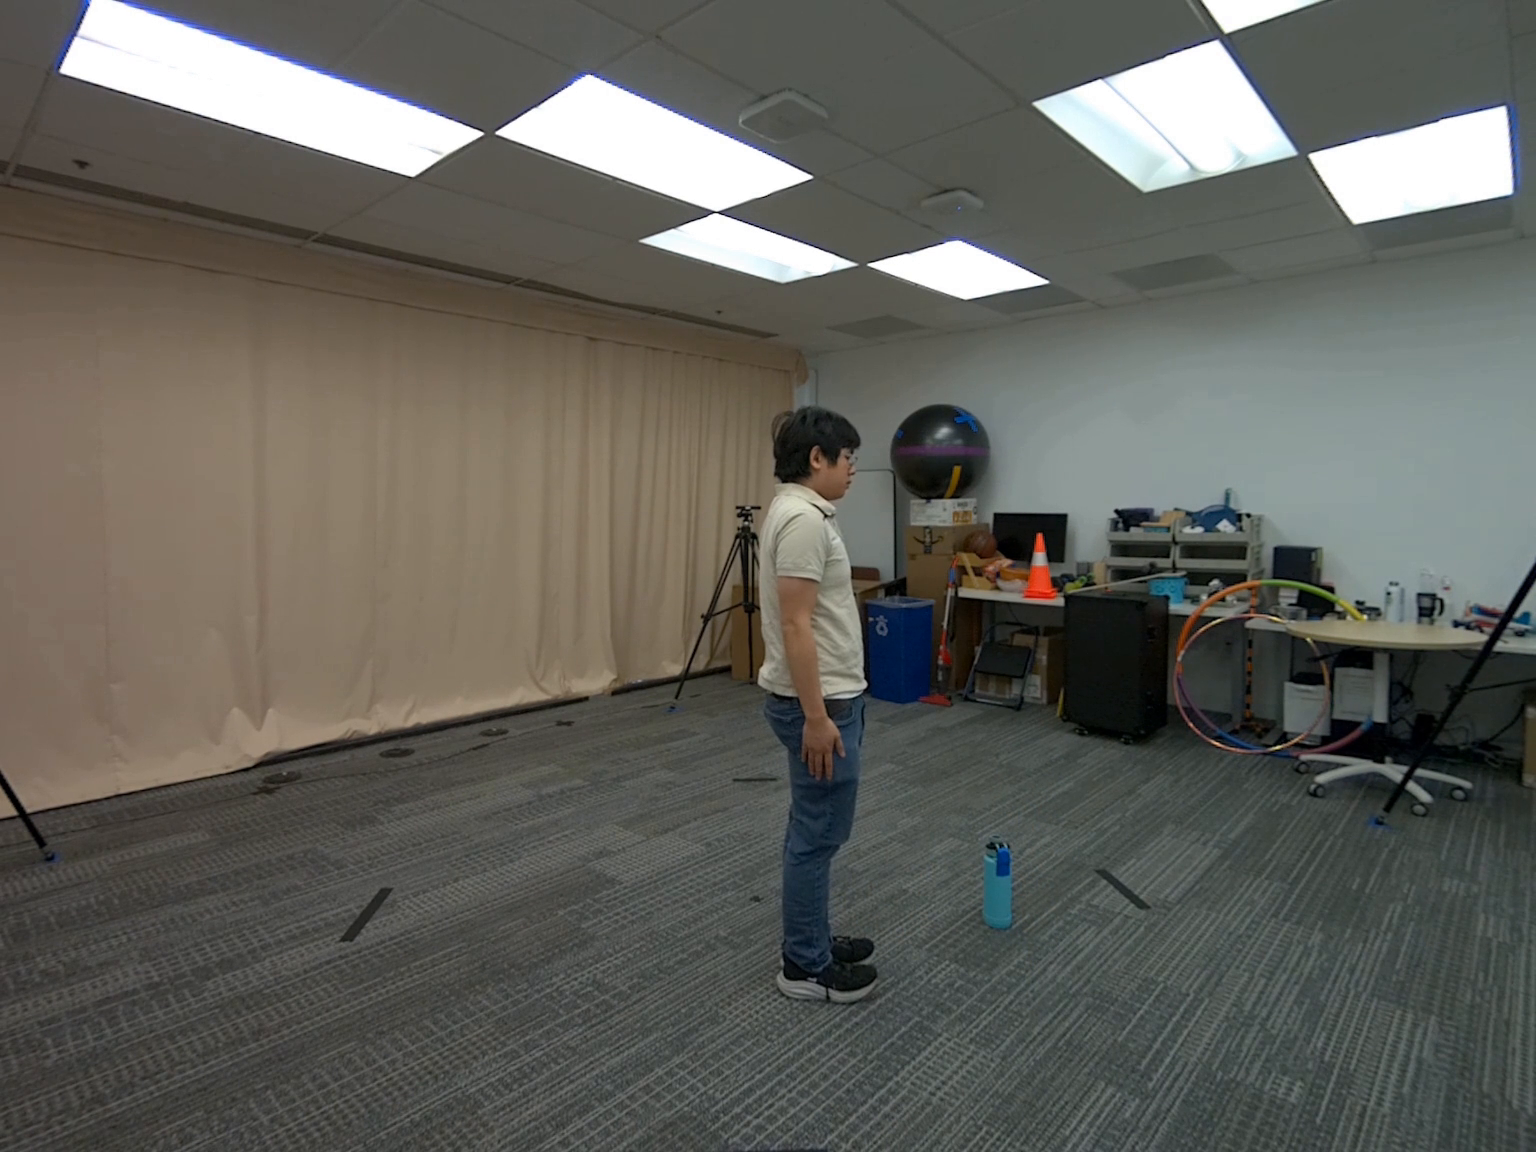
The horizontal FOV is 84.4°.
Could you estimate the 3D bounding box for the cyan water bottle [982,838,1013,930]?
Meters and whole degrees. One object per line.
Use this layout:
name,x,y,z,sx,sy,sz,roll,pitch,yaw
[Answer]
cyan water bottle,0.777,1.018,2.795,0.092,0.283,0.093,0,4,-2
